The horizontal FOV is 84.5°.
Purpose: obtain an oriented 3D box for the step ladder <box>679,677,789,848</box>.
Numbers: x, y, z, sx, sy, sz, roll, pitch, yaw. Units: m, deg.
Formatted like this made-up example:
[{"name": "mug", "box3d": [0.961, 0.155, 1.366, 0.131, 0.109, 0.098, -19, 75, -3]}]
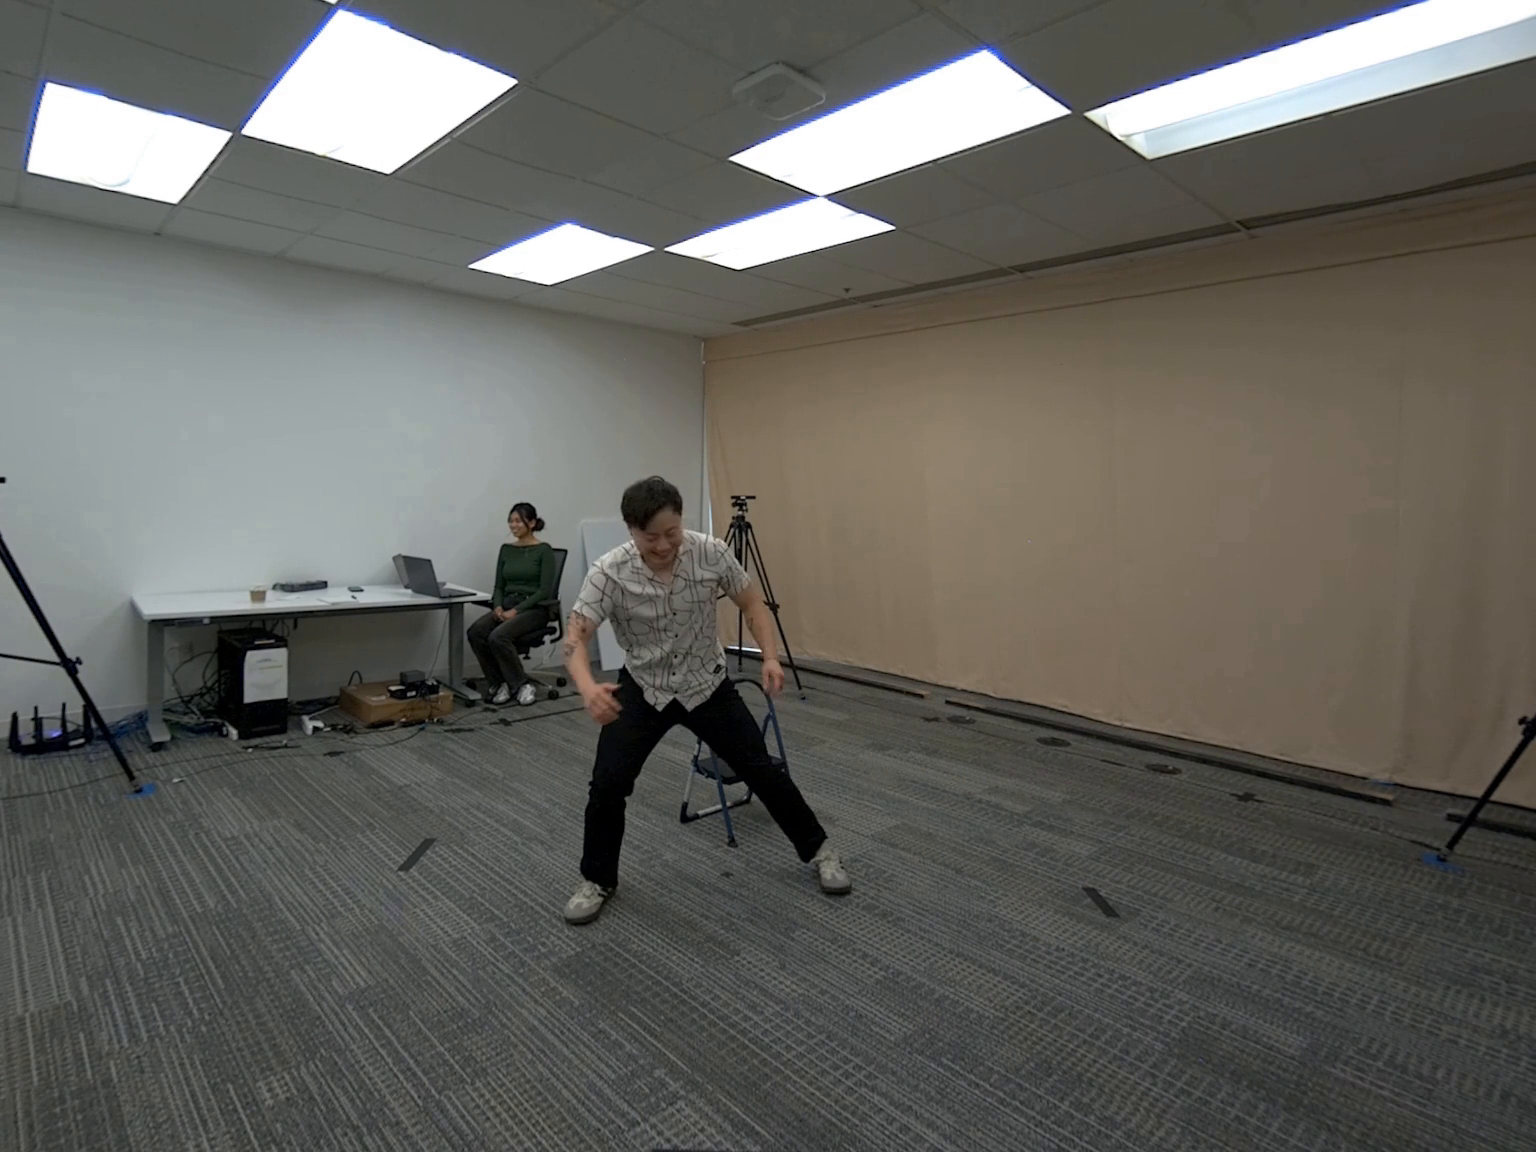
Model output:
[{"name": "step ladder", "box3d": [-0.114, 0.757, 3.599, 0.358, 0.604, 0.421, 5, 5, 45]}]
